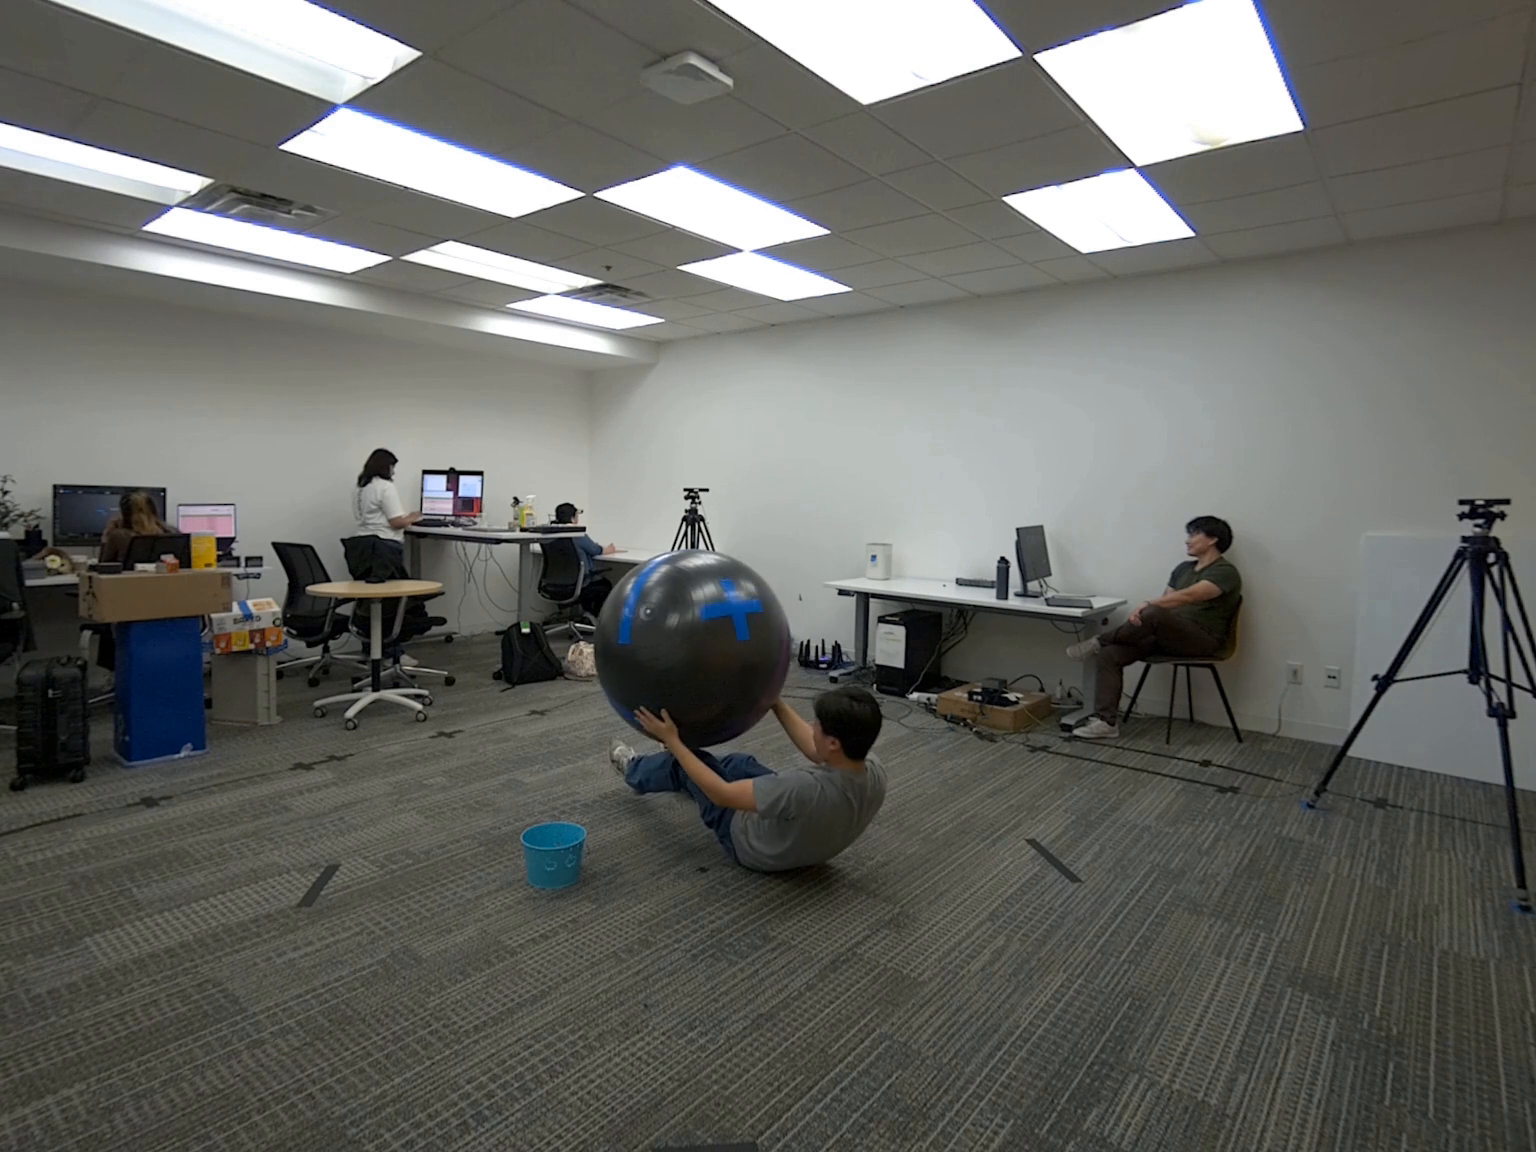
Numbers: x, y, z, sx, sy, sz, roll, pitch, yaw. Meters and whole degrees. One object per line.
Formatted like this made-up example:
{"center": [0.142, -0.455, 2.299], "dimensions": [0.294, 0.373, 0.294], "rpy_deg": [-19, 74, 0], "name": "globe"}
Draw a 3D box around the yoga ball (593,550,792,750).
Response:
{"center": [-0.314, 0.286, 3.280], "dimensions": [0.757, 0.756, 0.761], "rpy_deg": [1, 4, -2], "name": "yoga ball"}
